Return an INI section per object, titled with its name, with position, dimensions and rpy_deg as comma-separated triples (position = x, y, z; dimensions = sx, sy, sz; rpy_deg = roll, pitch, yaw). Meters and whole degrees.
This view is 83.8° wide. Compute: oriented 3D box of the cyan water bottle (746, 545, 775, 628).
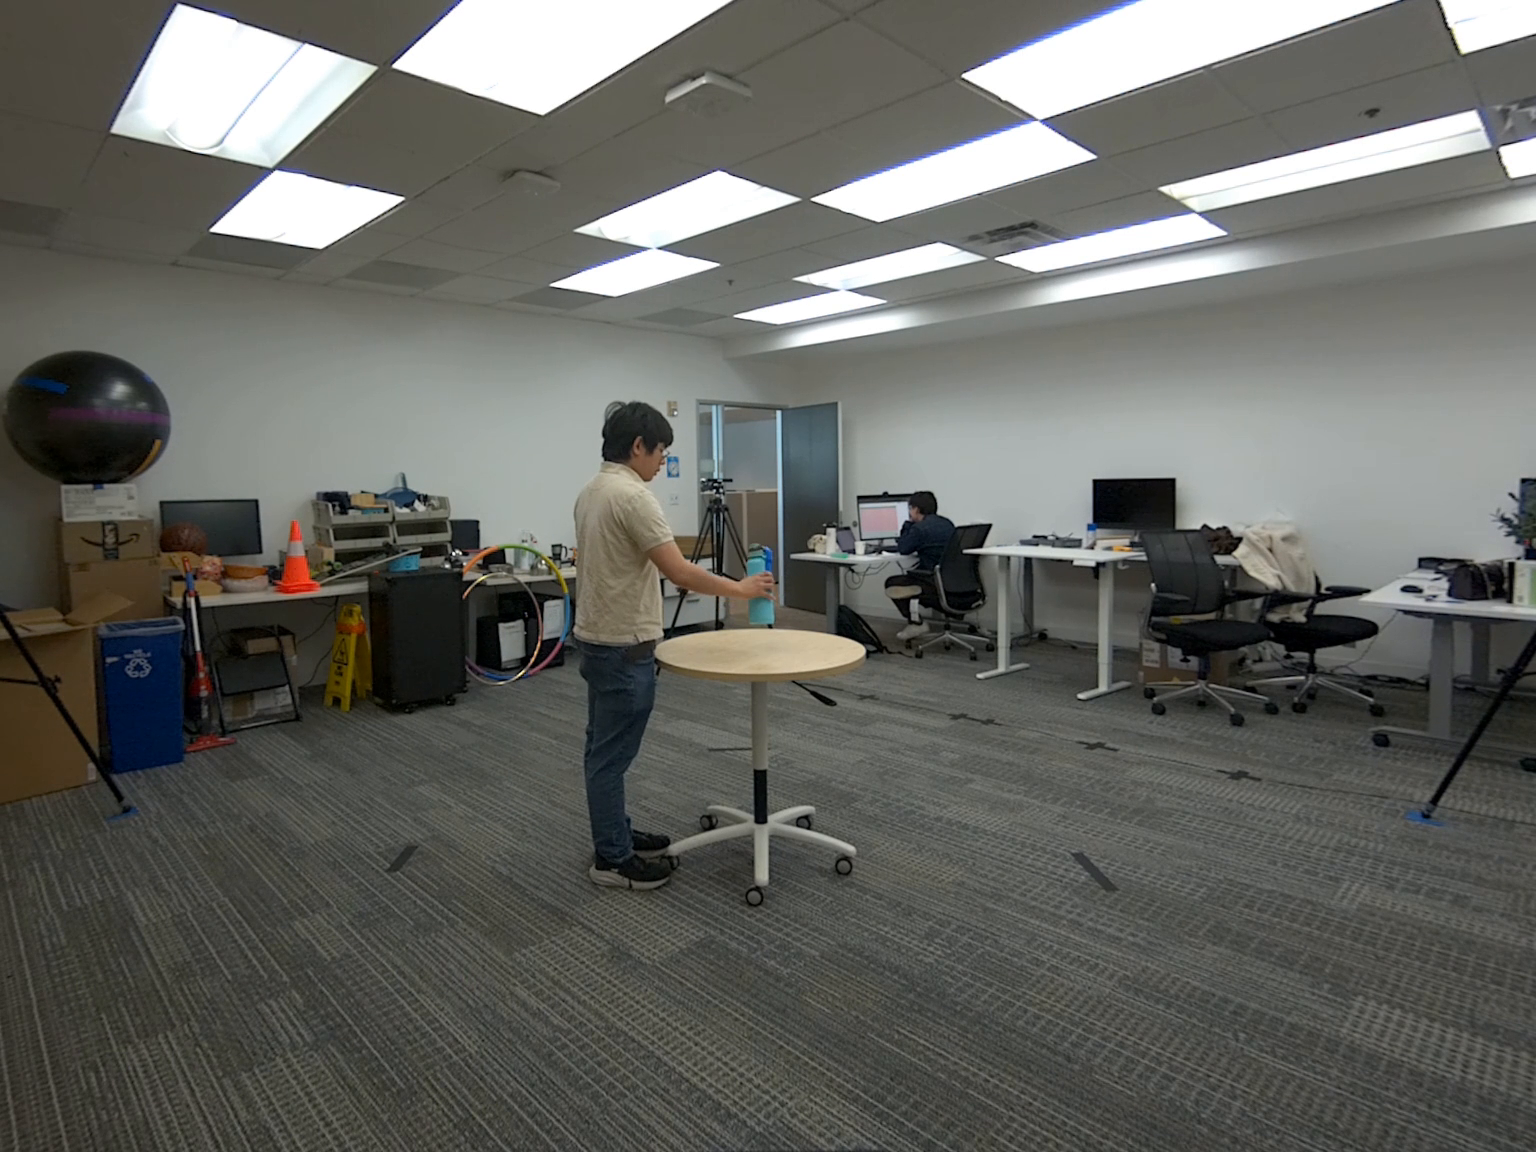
[cyan water bottle]
position = -0.035, 0.031, 3.035
dimensions = 0.092, 0.285, 0.092
rpy_deg = -1, -6, -2
